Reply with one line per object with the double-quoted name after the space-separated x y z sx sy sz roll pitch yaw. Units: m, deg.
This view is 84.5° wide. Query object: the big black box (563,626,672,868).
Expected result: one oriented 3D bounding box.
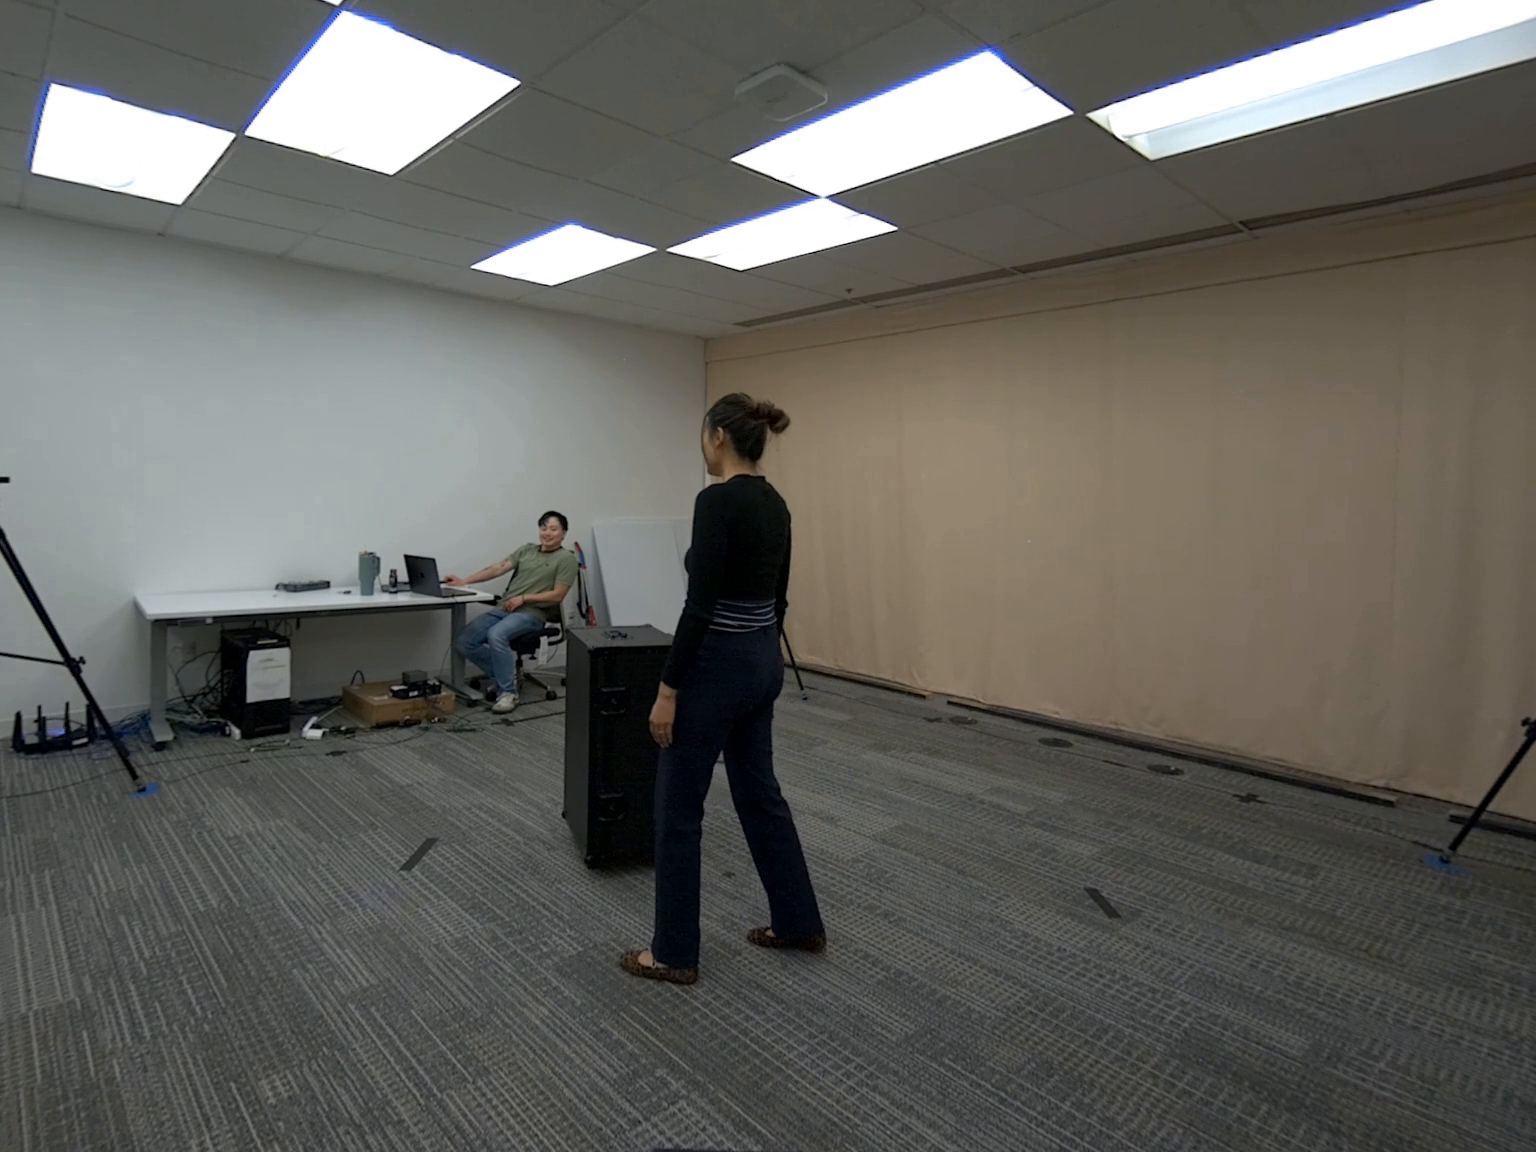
-0.572 0.650 3.274 0.389 0.860 0.531 1 3 -23 "big black box"
